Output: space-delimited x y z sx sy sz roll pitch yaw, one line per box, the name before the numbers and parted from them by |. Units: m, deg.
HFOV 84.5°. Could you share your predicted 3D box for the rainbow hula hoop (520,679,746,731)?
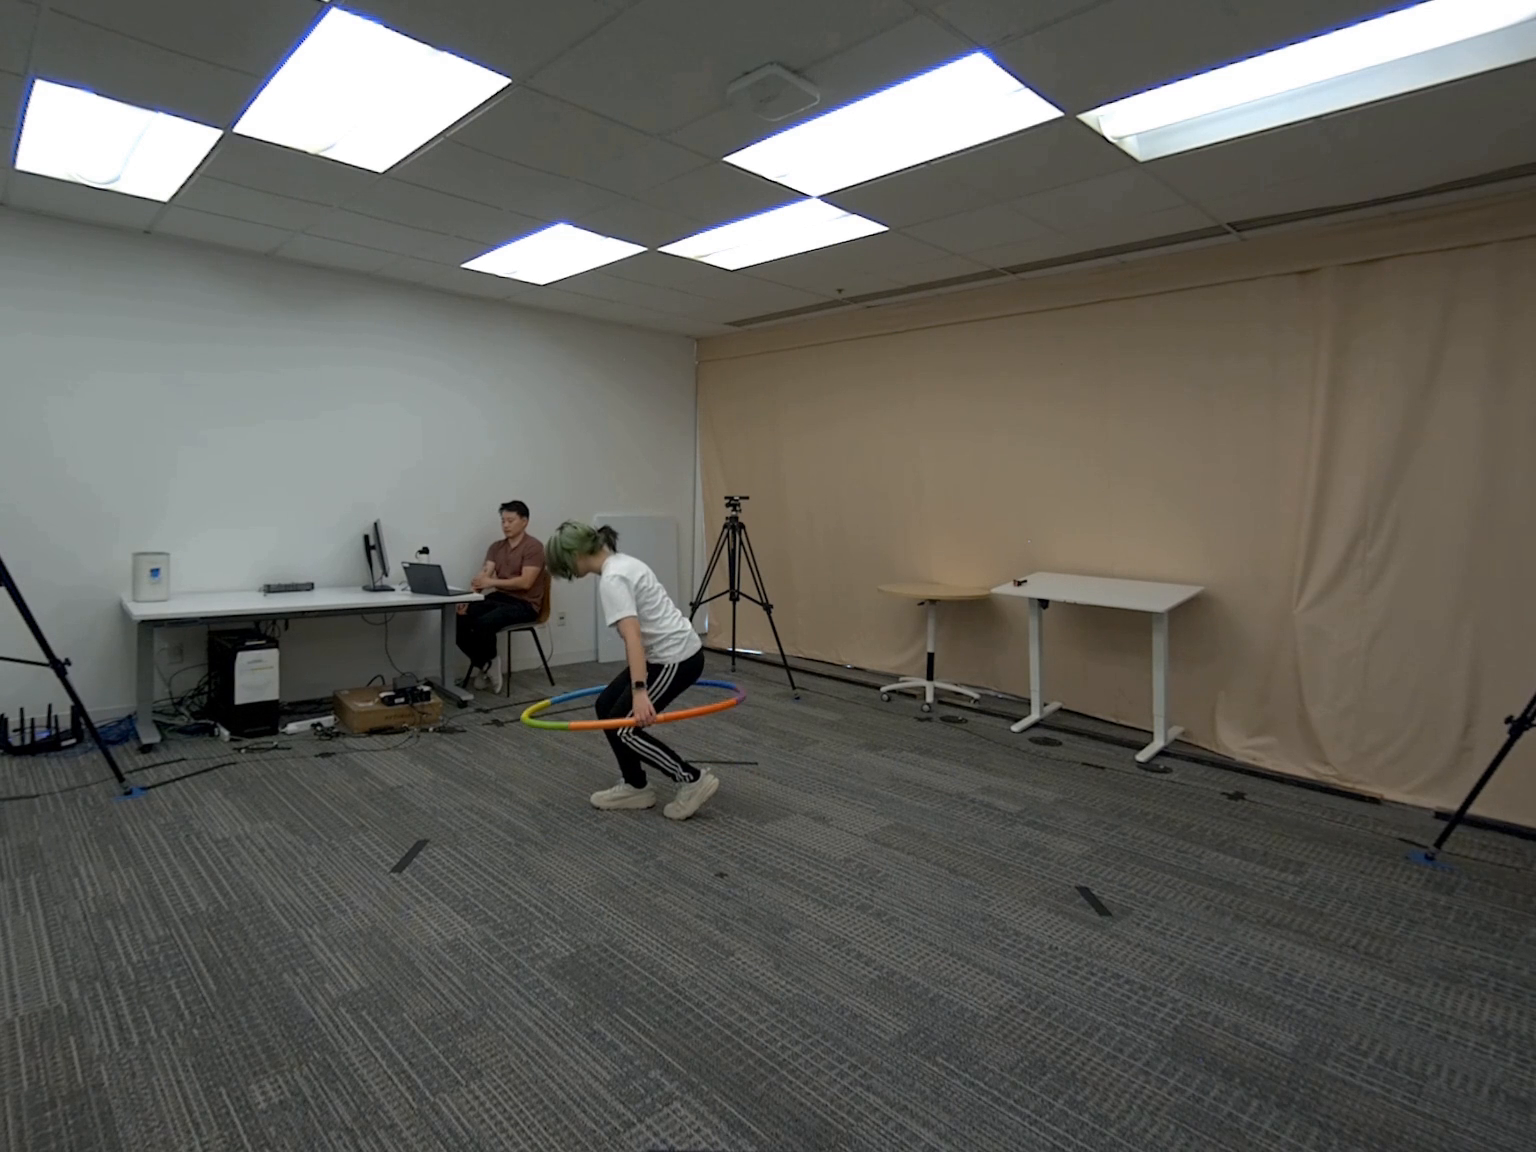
rainbow hula hoop | -0.602 0.559 3.722 0.985 0.051 0.986 -5 2 -1
